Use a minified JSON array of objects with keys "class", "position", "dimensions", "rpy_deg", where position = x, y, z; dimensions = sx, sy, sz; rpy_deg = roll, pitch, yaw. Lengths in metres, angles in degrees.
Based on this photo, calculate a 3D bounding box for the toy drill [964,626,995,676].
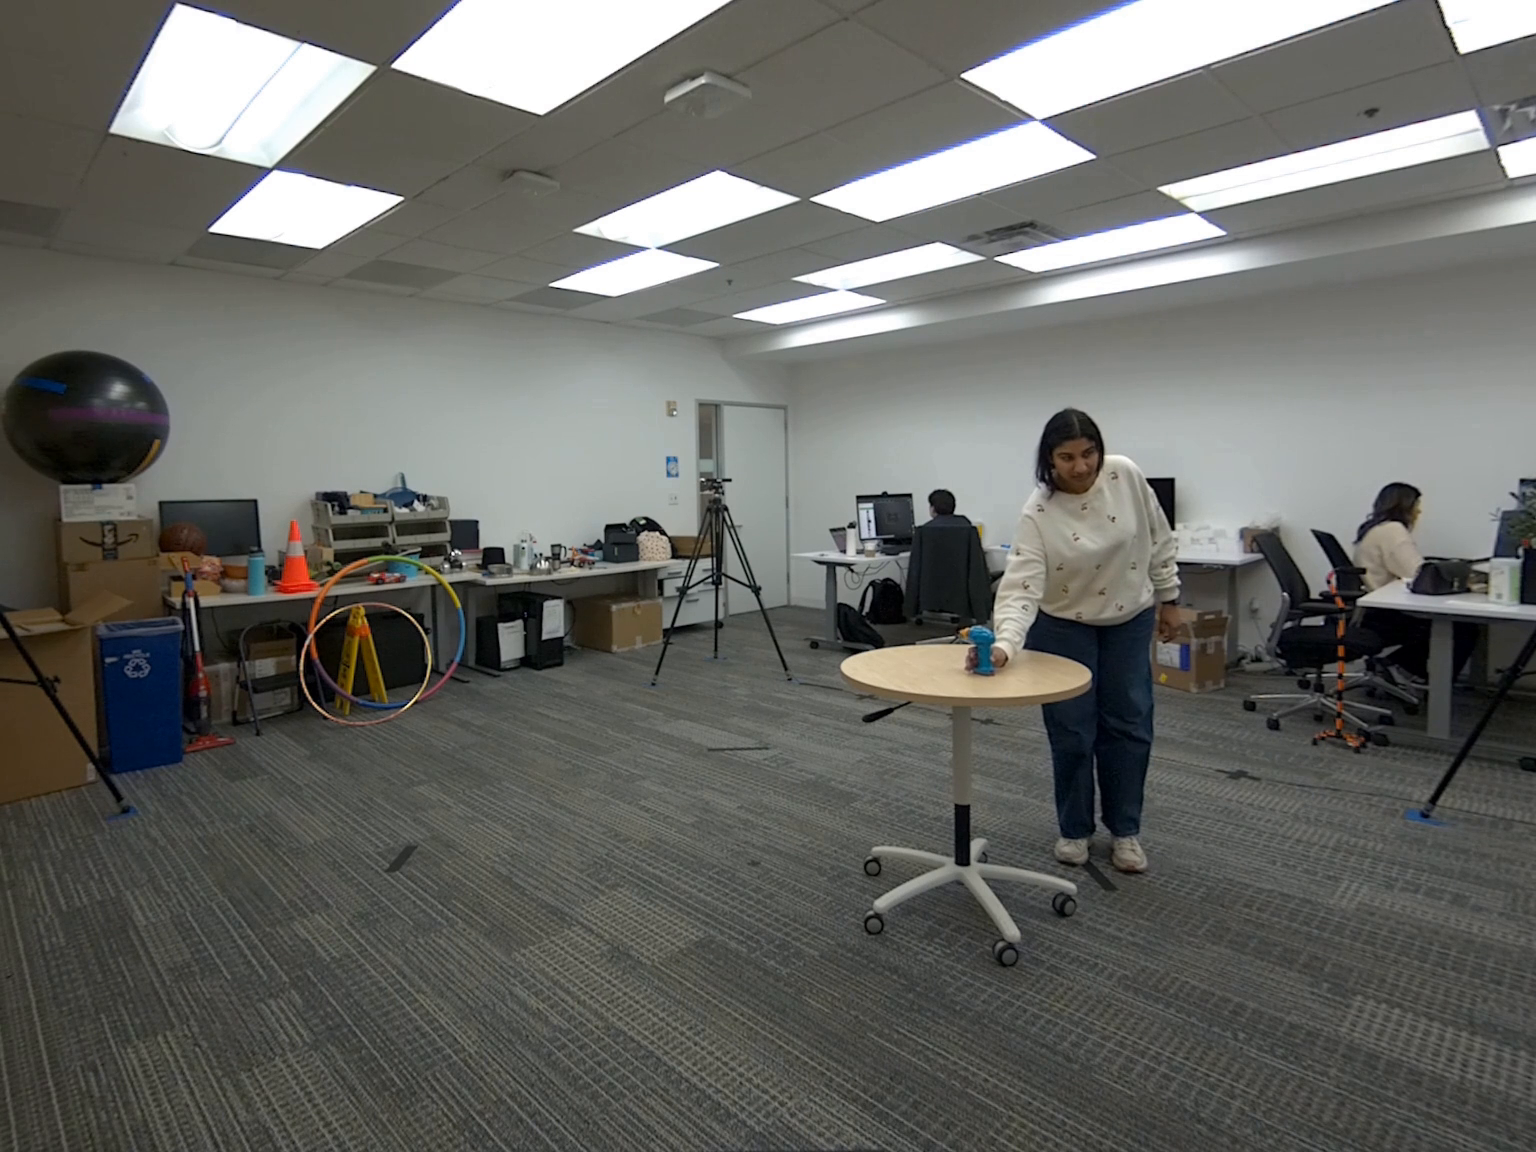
[{"class":"toy drill","position":[0.662,0.227,2.659],"dimensions":[0.060,0.146,0.173],"rpy_deg":[-1,3,-19]}]
